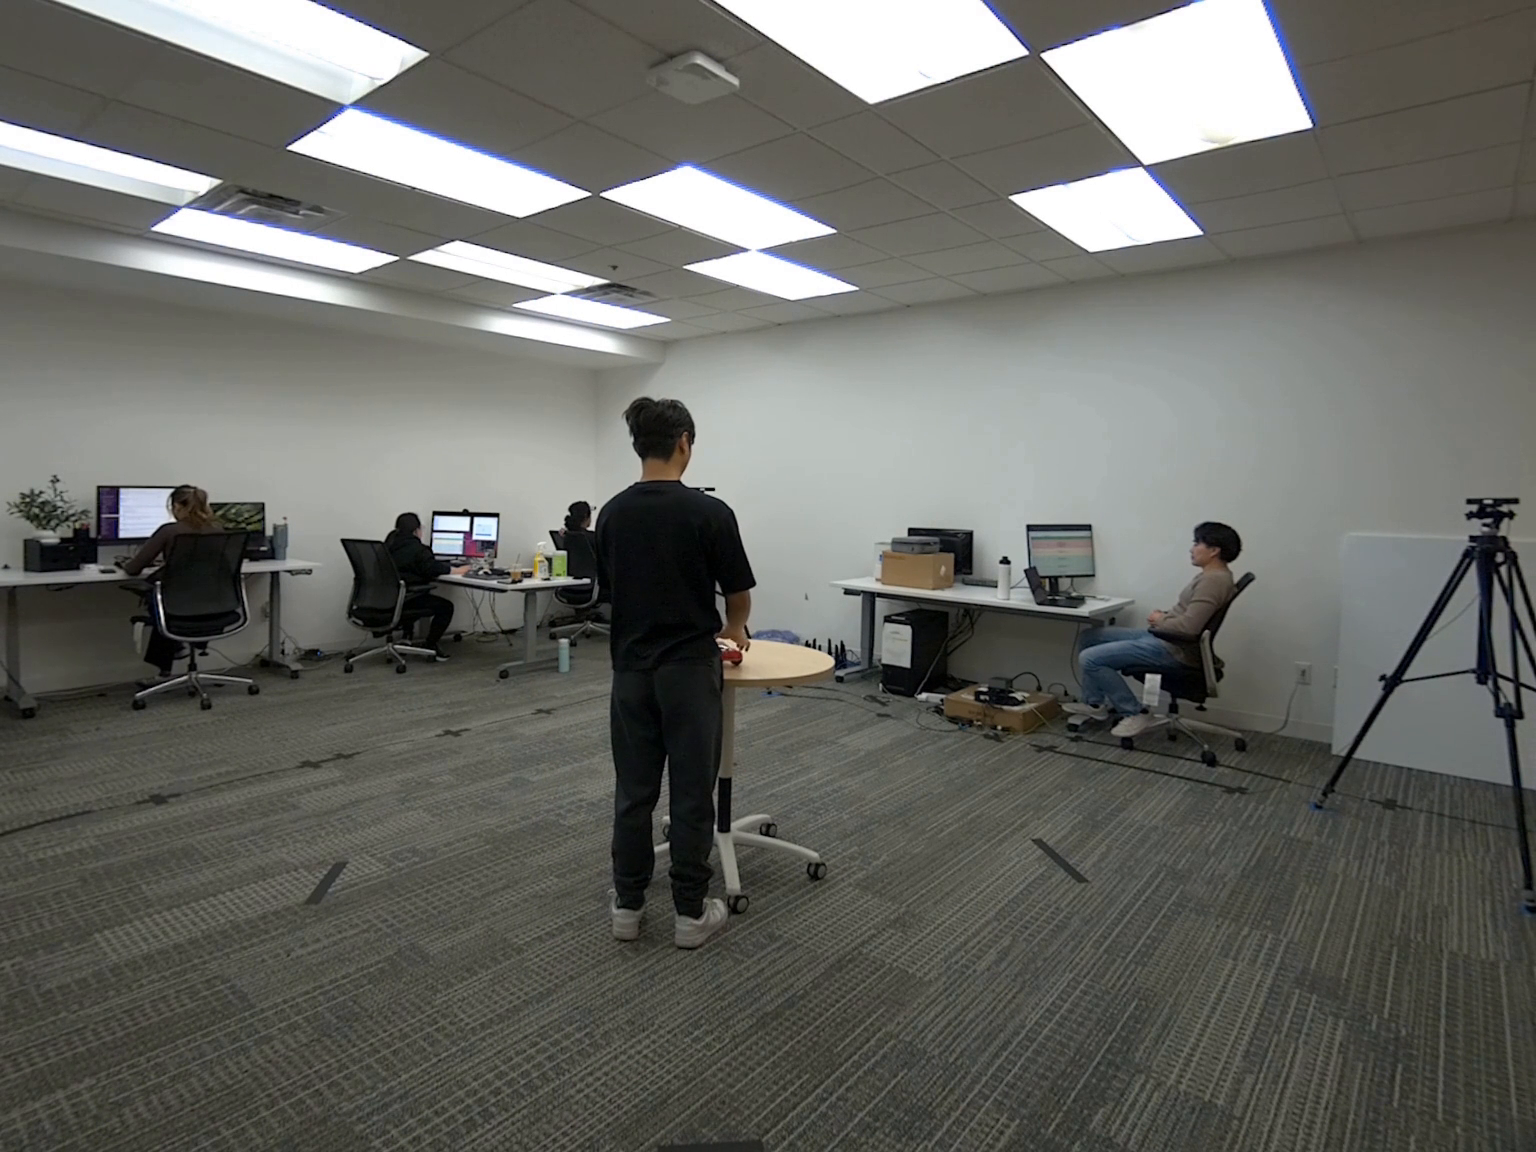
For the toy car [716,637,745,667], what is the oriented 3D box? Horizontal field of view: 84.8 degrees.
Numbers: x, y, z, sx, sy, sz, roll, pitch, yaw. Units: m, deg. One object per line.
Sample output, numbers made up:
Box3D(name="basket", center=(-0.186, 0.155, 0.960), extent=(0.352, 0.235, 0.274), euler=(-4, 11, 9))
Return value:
Box3D(name="toy car", center=(-0.206, 0.258, 2.968), extent=(0.126, 0.083, 0.265), euler=(7, 12, -41))
